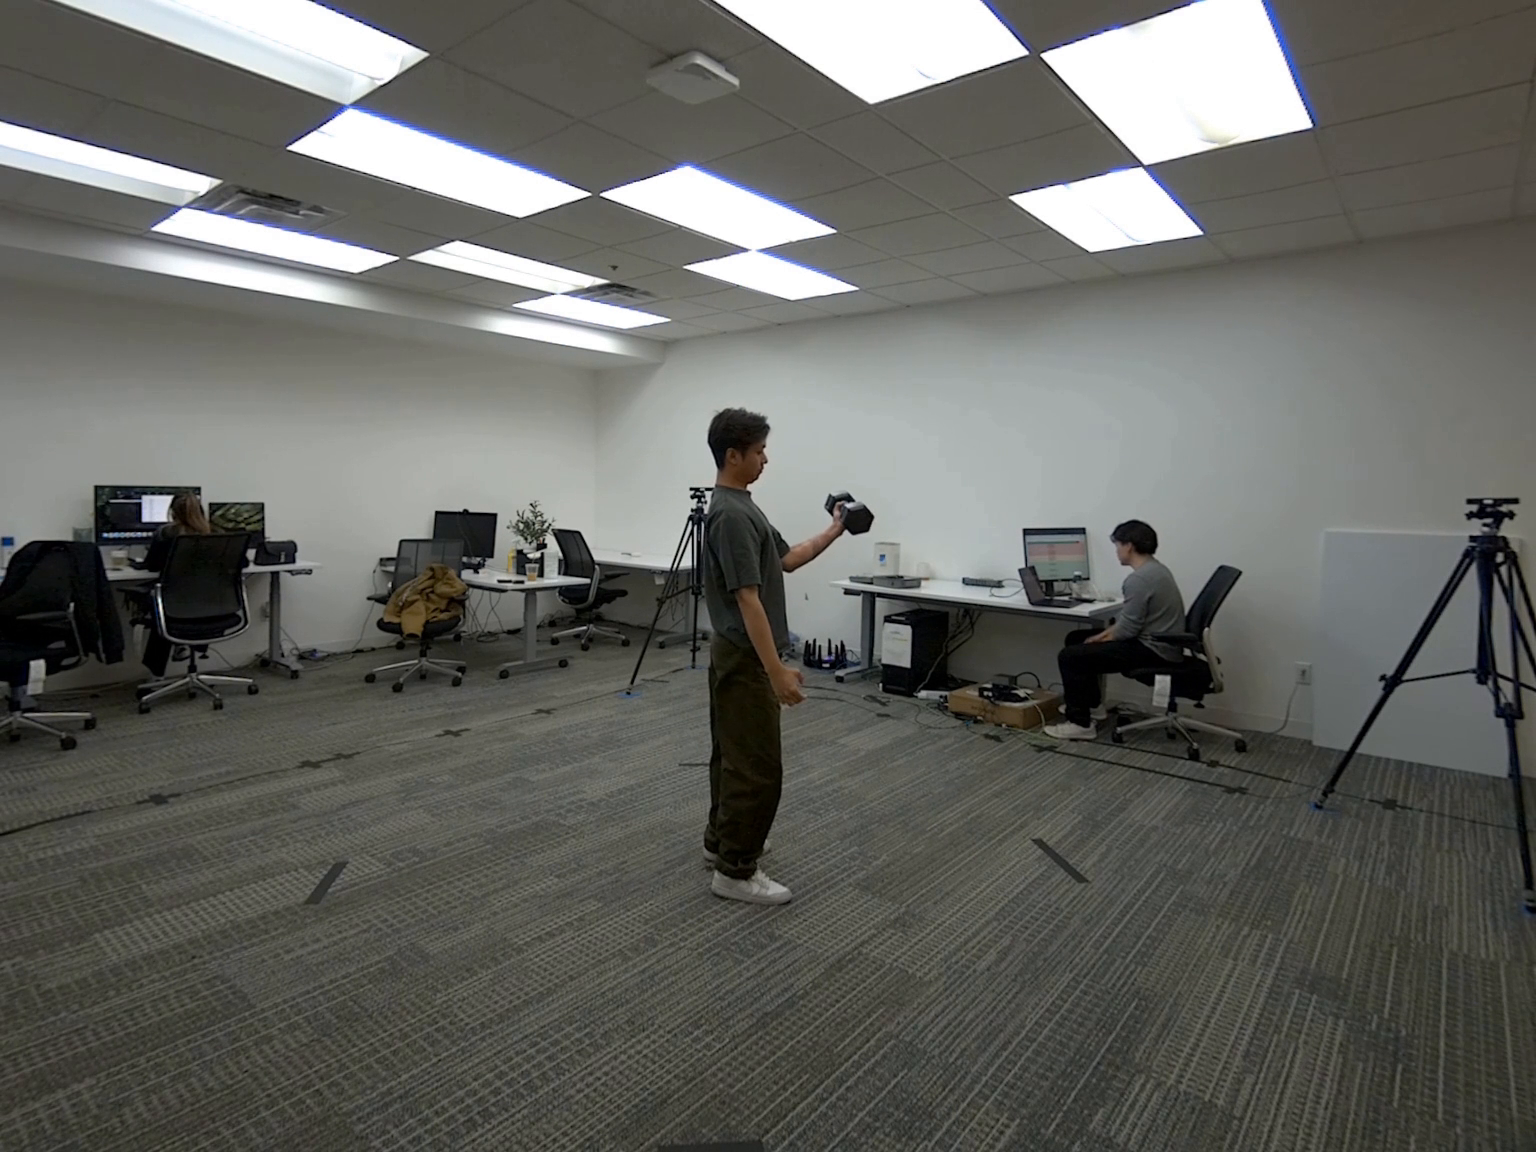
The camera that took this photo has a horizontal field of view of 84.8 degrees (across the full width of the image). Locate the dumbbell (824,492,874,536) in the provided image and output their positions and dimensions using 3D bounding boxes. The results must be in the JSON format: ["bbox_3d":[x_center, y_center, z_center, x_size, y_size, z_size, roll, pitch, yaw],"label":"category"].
[{"bbox_3d":[0.292,-0.249,3.234,0.109,0.120,0.301,-41,21,2],"label":"dumbbell"}]
